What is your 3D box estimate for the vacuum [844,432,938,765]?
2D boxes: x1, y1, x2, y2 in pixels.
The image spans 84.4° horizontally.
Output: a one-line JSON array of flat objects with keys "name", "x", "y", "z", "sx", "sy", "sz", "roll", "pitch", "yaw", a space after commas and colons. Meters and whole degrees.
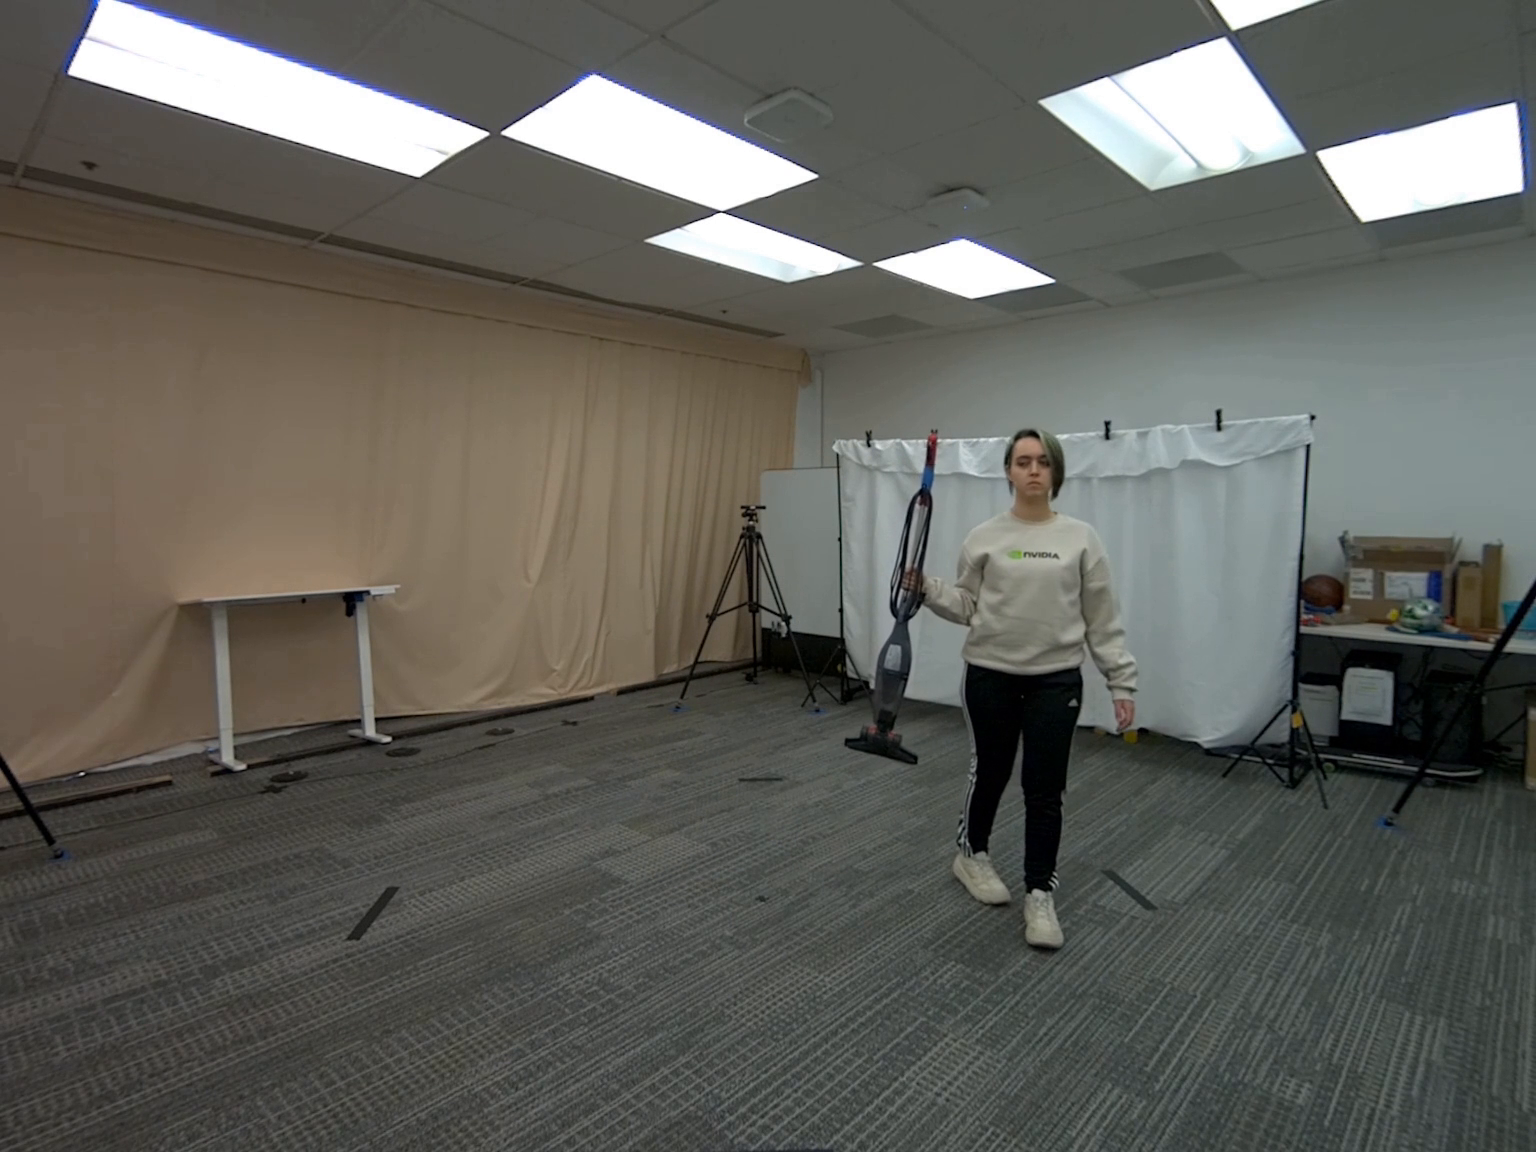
[{"name": "vacuum", "x": 0.467, "y": 0.065, "z": 2.809, "sx": 0.255, "sy": 1.046, "sz": 0.143, "roll": 10, "pitch": 6, "yaw": 9}]
